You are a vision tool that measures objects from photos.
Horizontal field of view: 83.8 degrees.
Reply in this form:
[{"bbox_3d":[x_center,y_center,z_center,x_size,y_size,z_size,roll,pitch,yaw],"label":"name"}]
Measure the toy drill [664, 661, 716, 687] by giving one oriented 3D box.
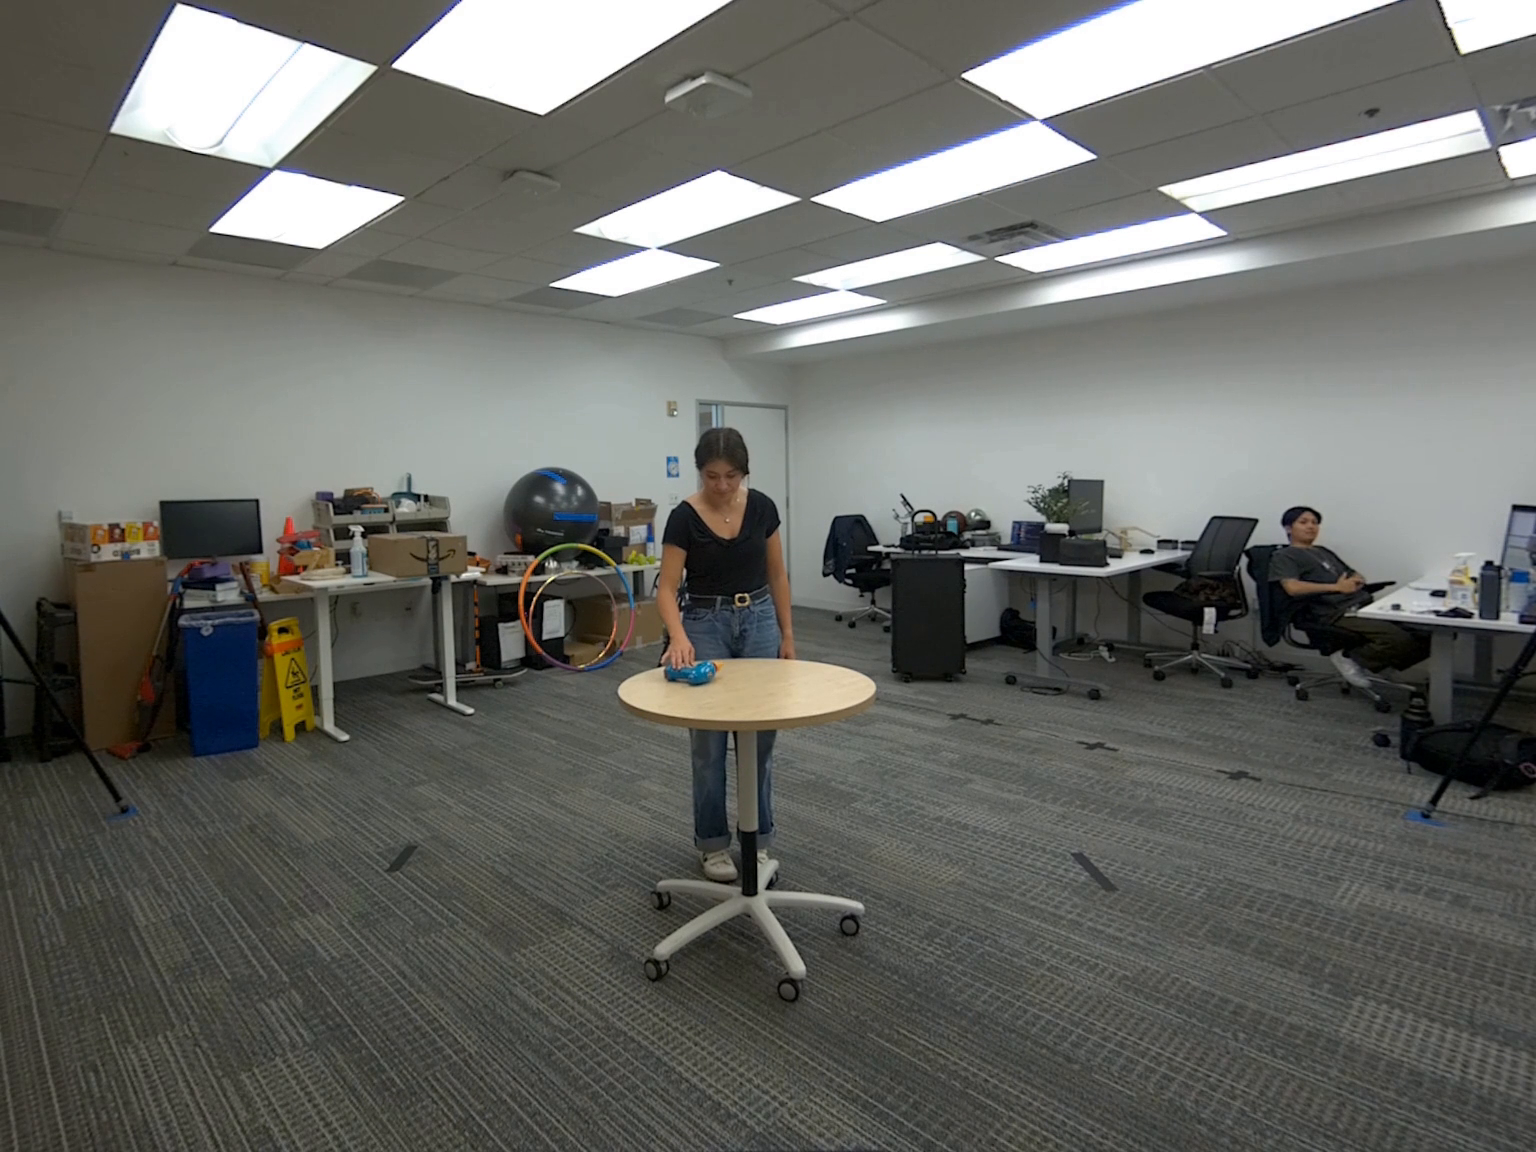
[{"bbox_3d":[-0.222,0.296,2.638,0.150,0.060,0.166,1,12,36],"label":"toy drill"}]
